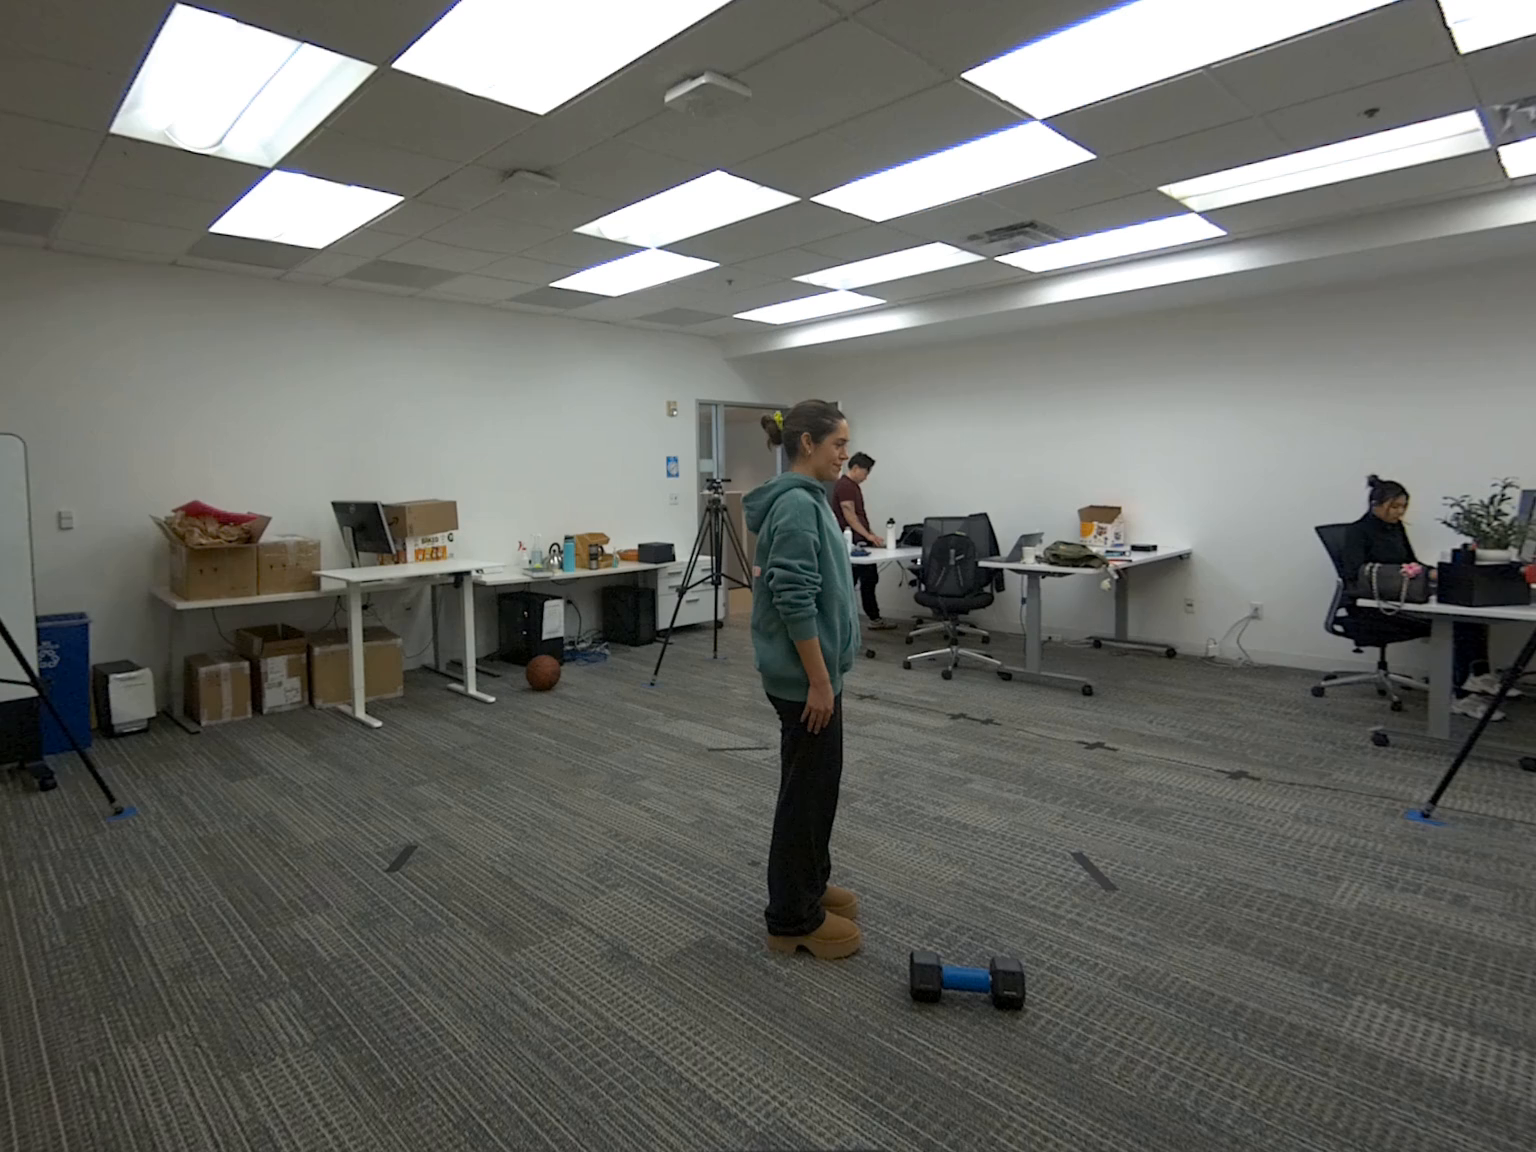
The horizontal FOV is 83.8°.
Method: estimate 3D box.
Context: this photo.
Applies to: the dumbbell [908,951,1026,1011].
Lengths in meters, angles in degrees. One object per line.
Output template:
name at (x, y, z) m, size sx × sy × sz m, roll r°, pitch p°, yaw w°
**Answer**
dumbbell at (0.536, 1.077, 2.273) m, size 0.296 × 0.119 × 0.111 m, roll 0°, pitch 34°, yaw 10°
